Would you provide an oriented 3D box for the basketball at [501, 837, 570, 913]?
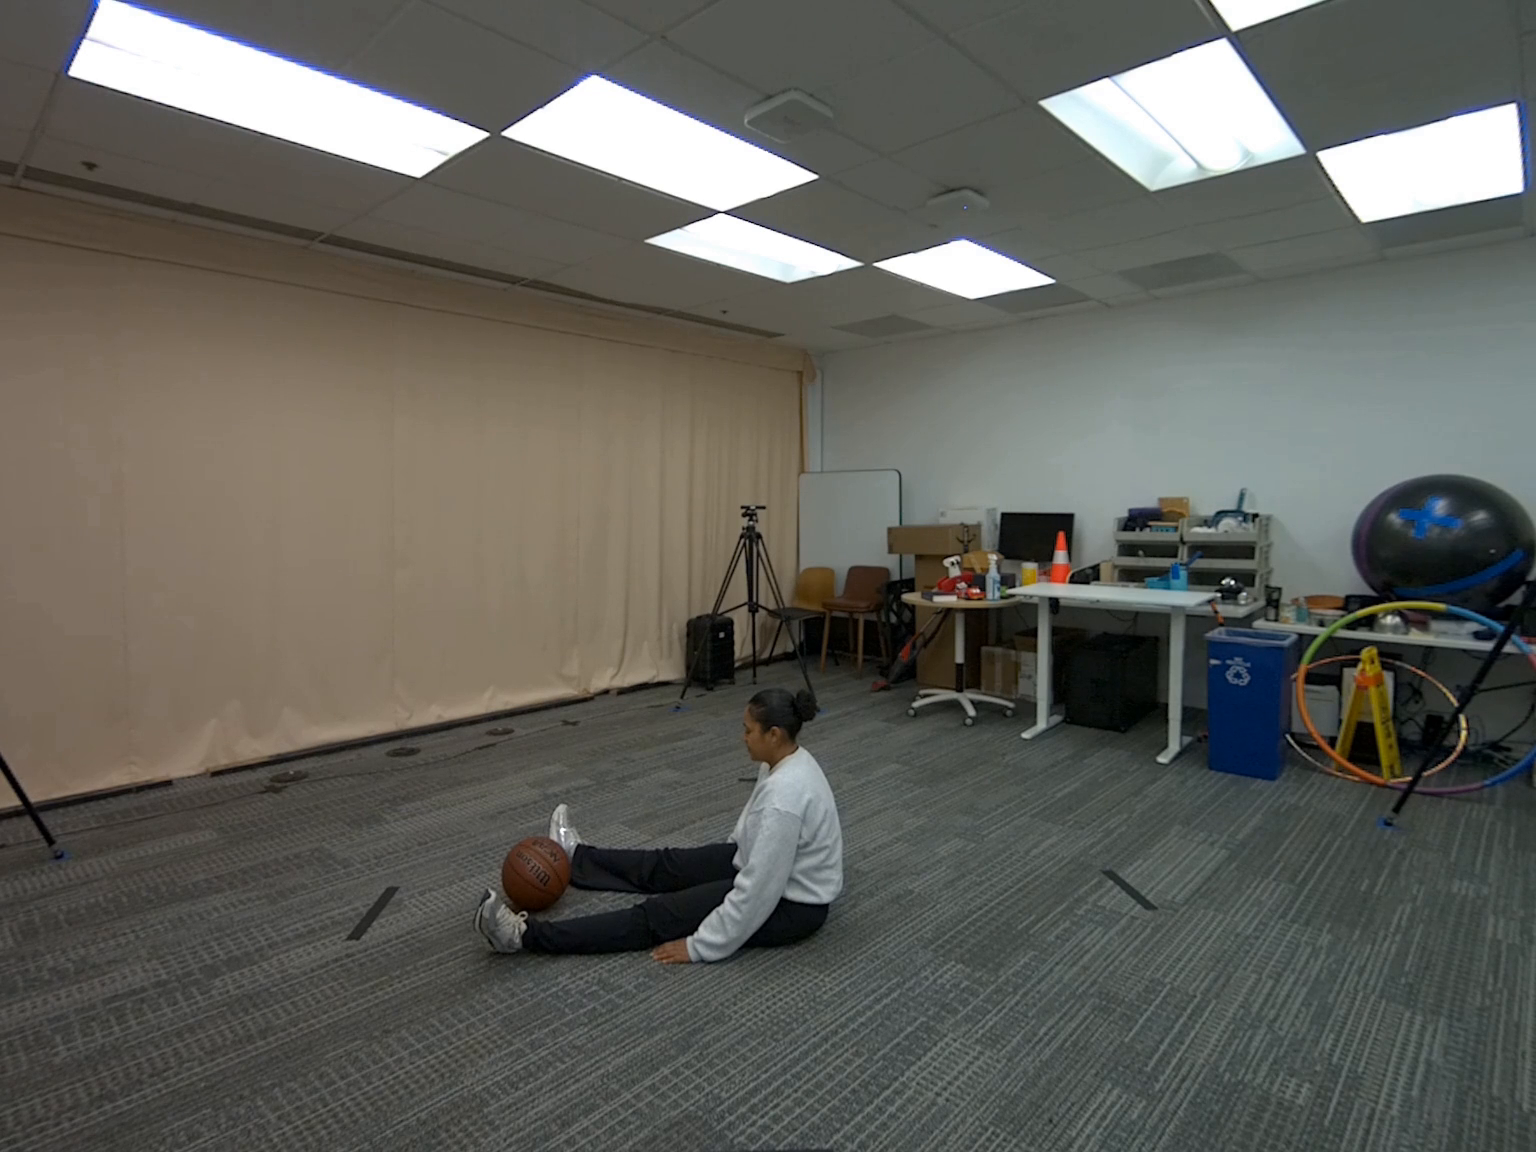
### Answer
[{"bbox_3d":[-0.811,1.041,2.928,0.236,0.235,0.237,0,4,-2],"label":"basketball"}]
